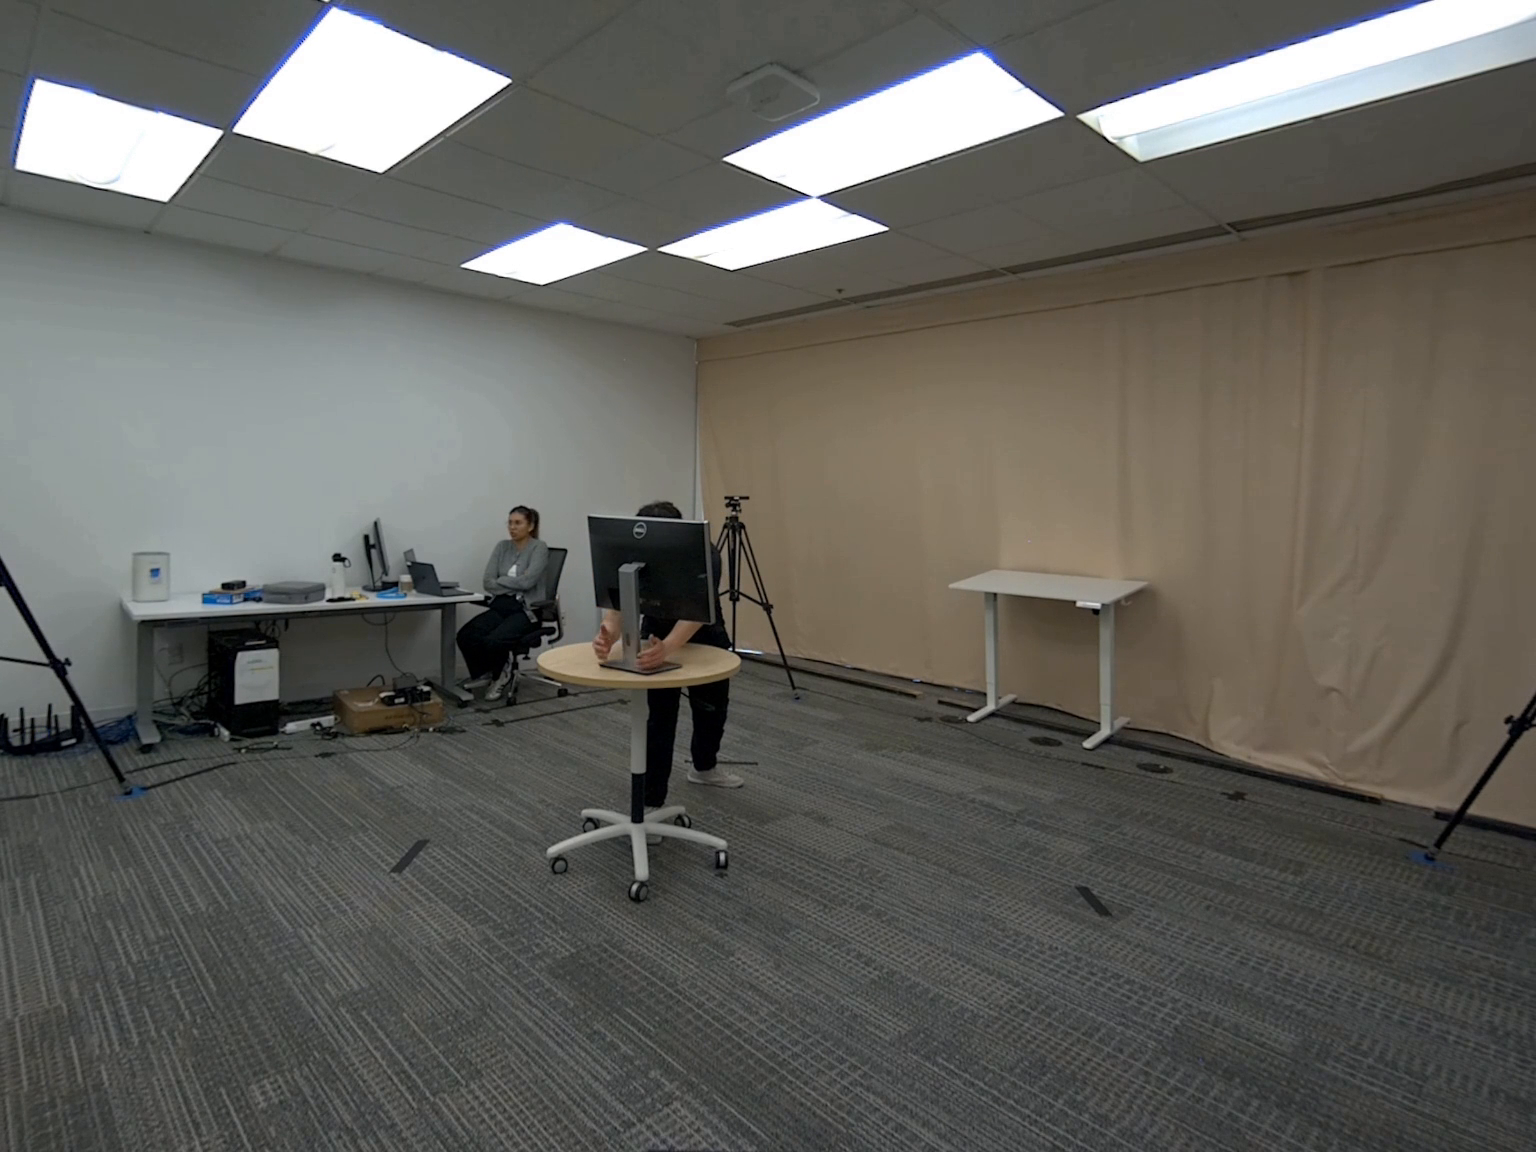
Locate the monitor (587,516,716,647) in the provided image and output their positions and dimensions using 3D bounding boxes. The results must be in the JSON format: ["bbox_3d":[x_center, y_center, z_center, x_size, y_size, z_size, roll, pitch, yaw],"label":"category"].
[{"bbox_3d":[-0.464,0.061,3.023,0.552,0.522,0.183,4,3,33],"label":"monitor"}]
